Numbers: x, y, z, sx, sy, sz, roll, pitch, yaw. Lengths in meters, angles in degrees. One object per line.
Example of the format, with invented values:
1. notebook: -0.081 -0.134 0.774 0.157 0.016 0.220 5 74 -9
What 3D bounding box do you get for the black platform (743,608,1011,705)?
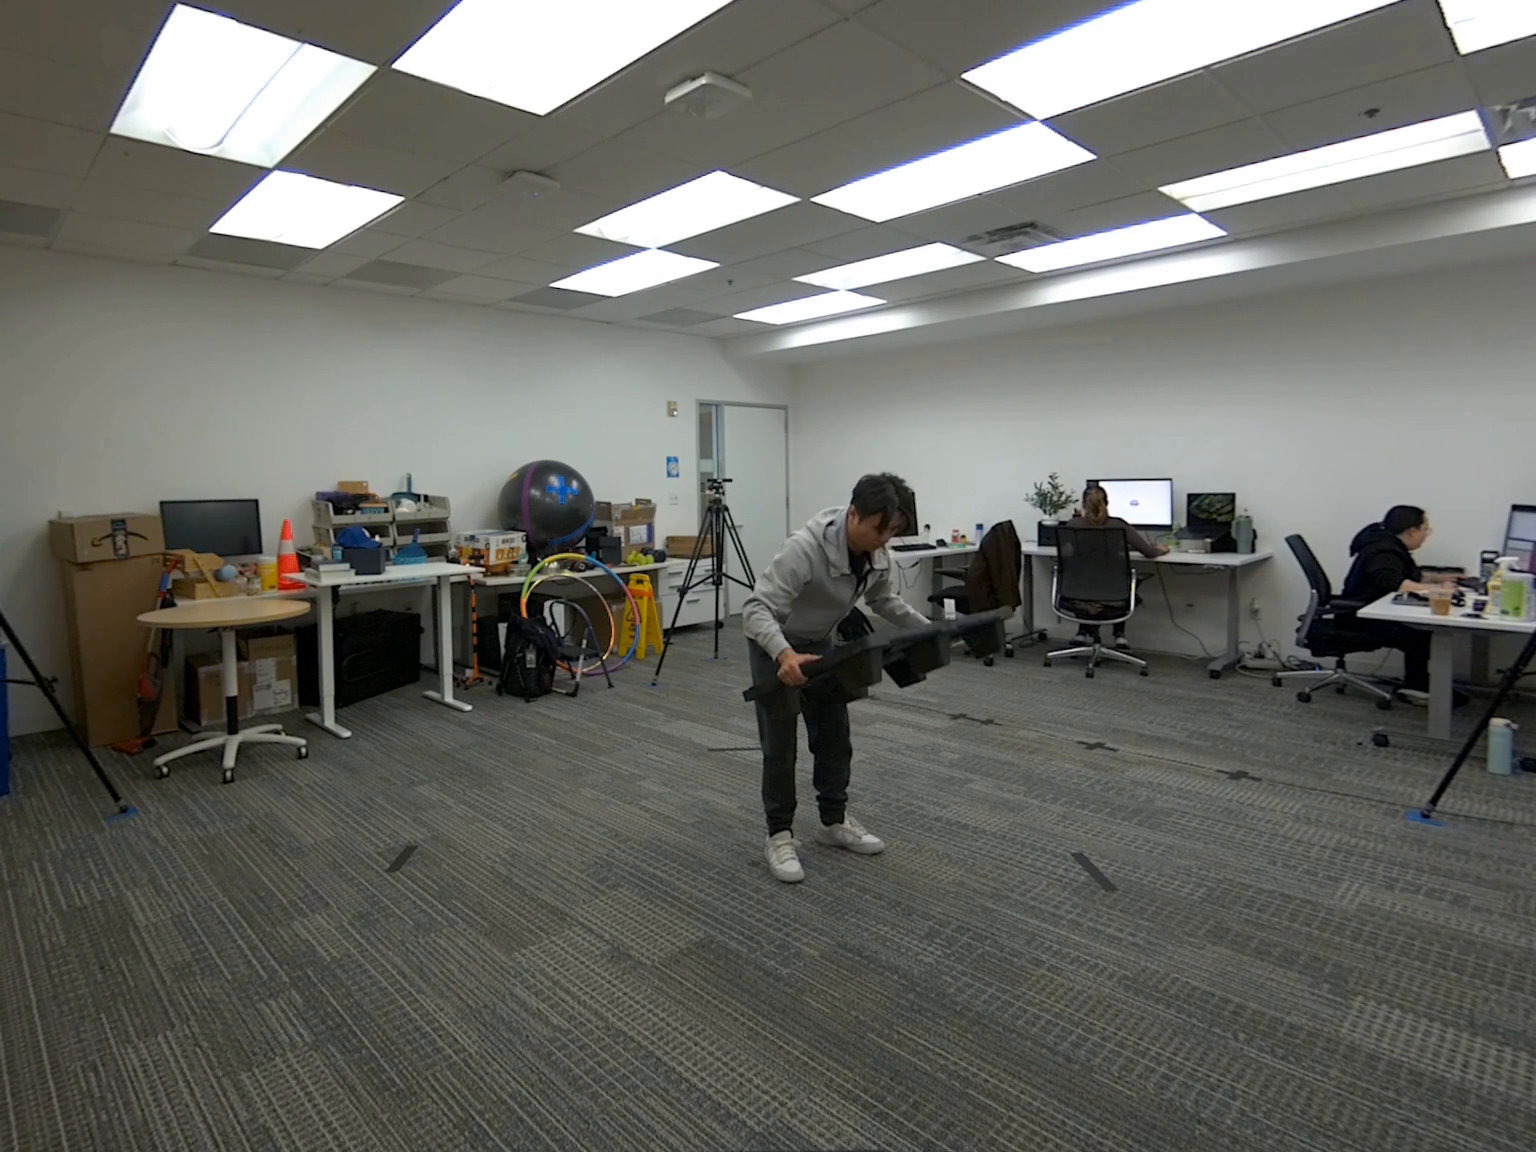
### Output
1. black platform: 0.405 0.315 2.884 0.784 0.146 0.610 -6 -18 -41
